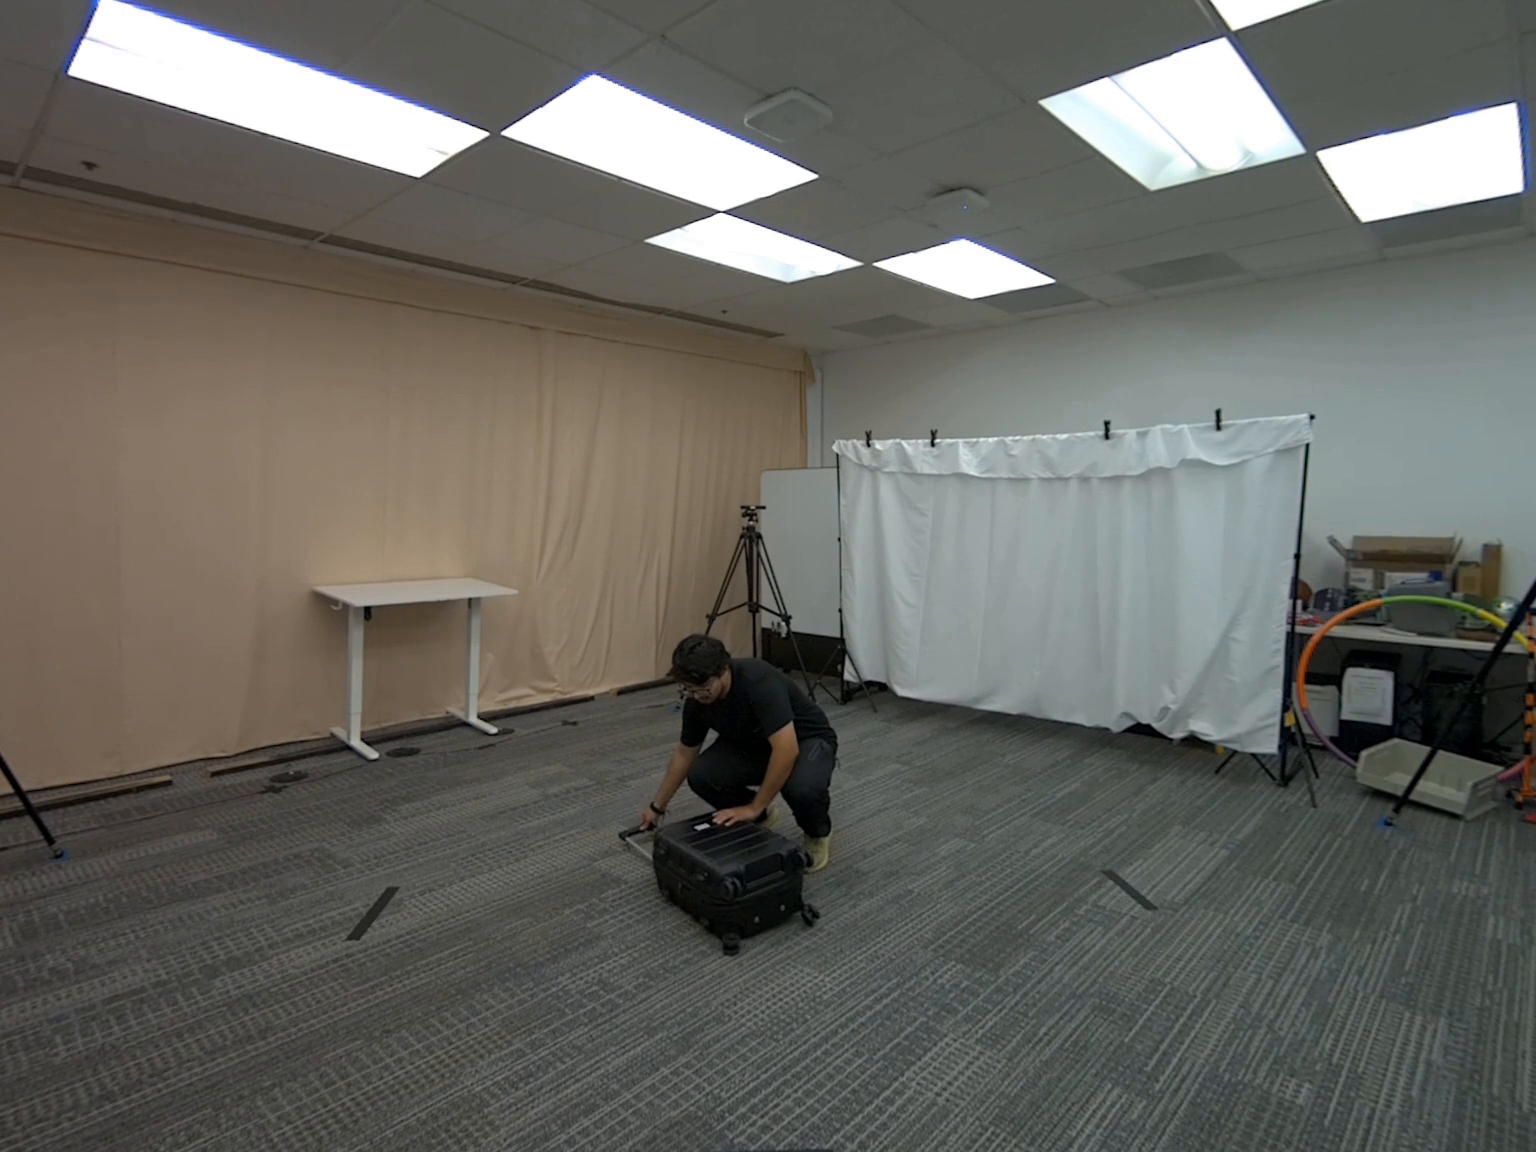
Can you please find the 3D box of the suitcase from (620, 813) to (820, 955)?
[{"bbox_3d":[-0.265,0.996,3.081,0.374,0.255,1.011,-8,11,-34],"label":"suitcase"}]
